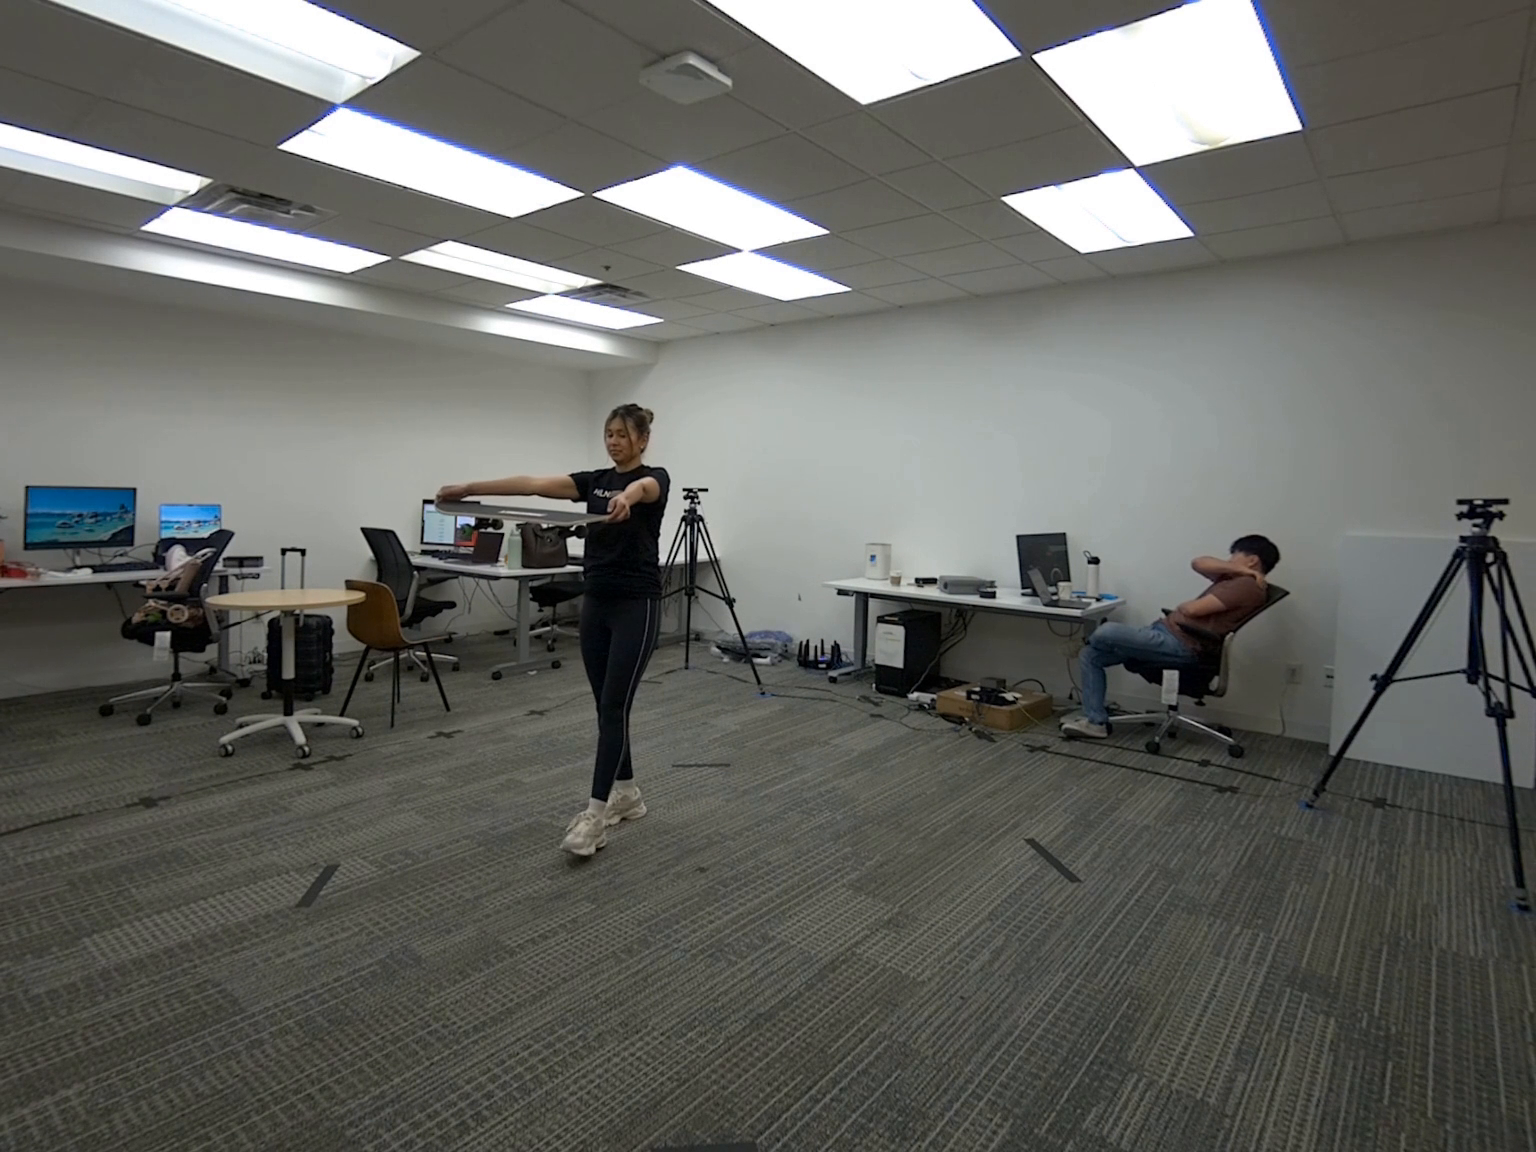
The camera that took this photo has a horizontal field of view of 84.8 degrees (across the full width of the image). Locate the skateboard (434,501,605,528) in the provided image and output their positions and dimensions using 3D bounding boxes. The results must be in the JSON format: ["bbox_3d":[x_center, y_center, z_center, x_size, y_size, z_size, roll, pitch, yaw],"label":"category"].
[{"bbox_3d":[-0.888,-0.198,3.008,0.807,0.108,0.191,6,19,27],"label":"skateboard"}]
